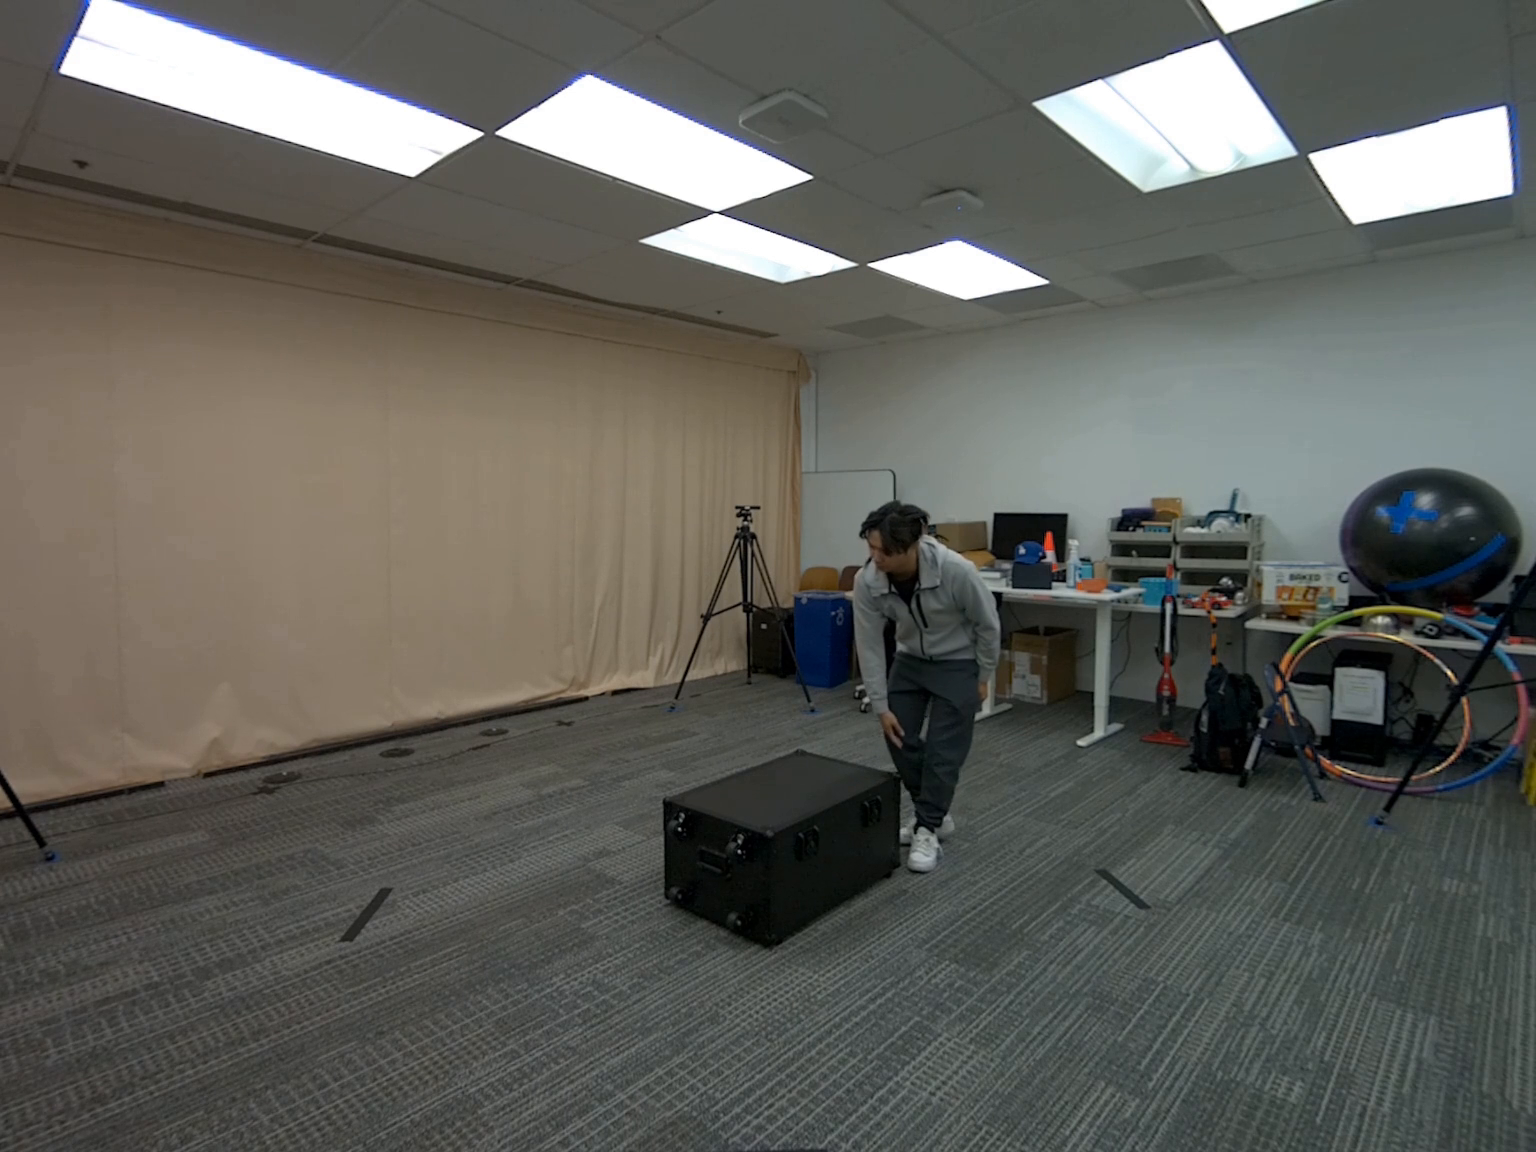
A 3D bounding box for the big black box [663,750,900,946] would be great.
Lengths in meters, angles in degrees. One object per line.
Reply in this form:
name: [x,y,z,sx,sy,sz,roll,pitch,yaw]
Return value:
big black box: [0.046,0.949,3.036,0.538,0.395,0.835,3,5,41]
